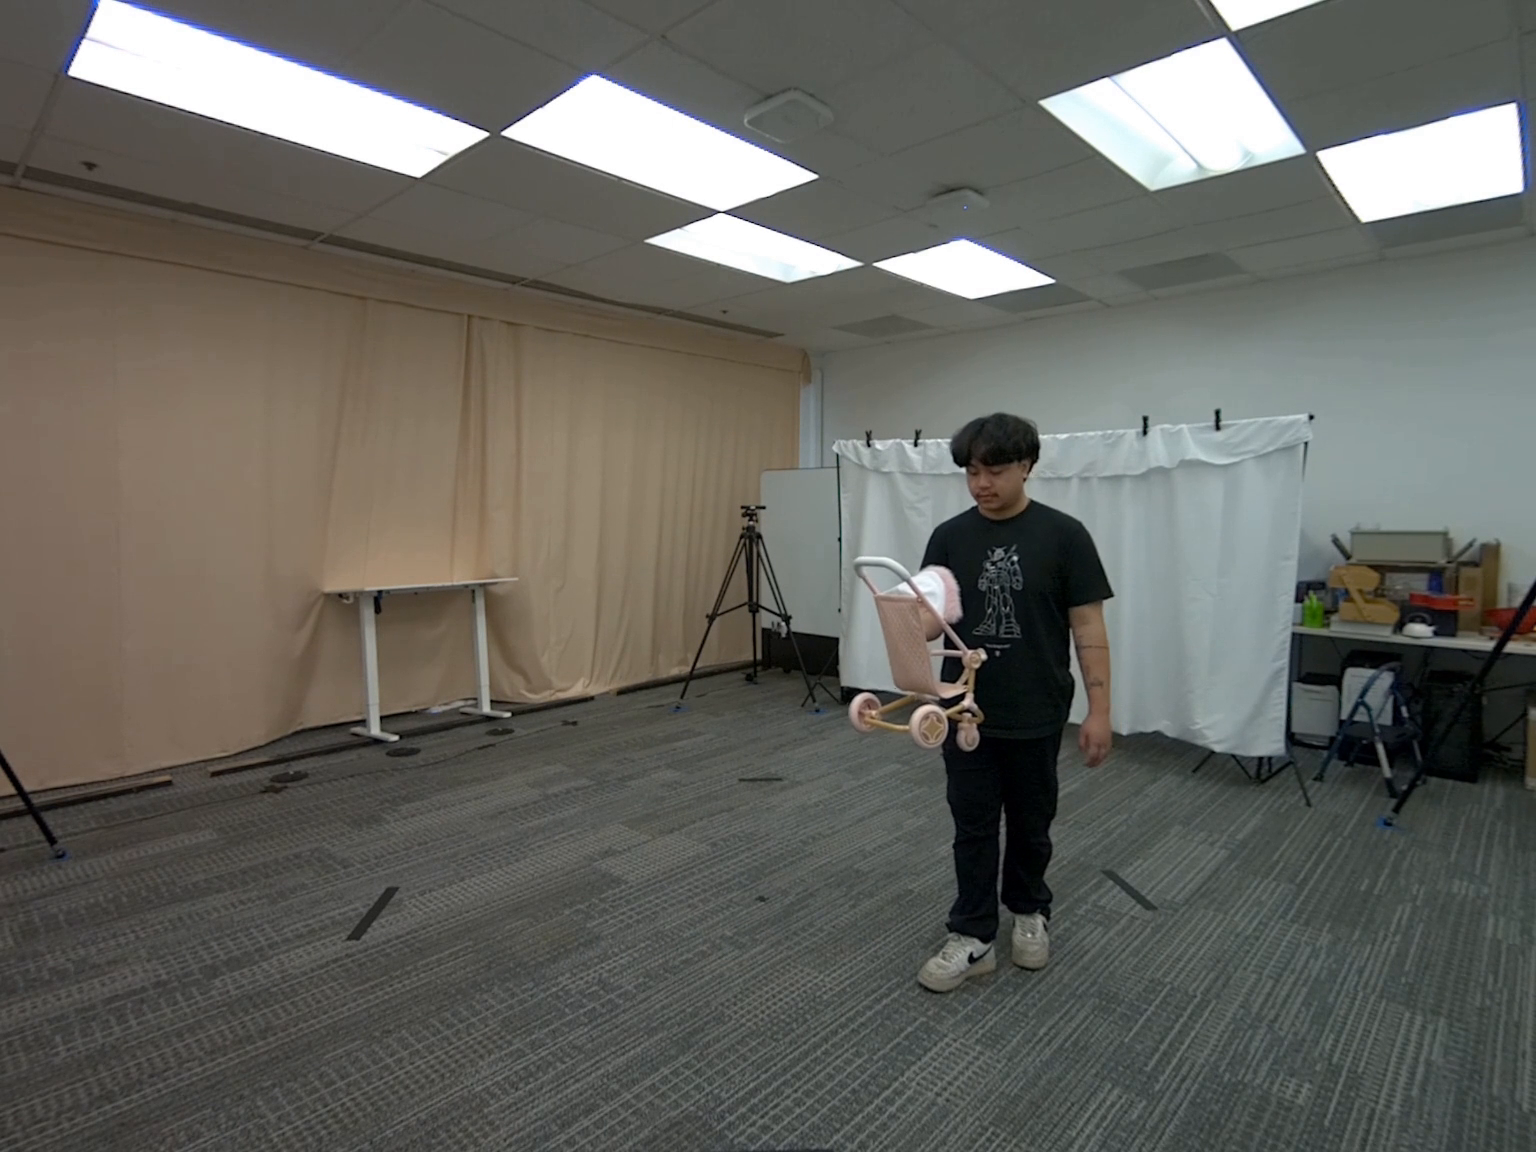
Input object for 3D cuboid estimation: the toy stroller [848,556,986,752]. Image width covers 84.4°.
[{"bbox_3d":[0.430,0.213,2.230,0.333,0.536,0.287,-2,-2,-24],"label":"toy stroller"}]
